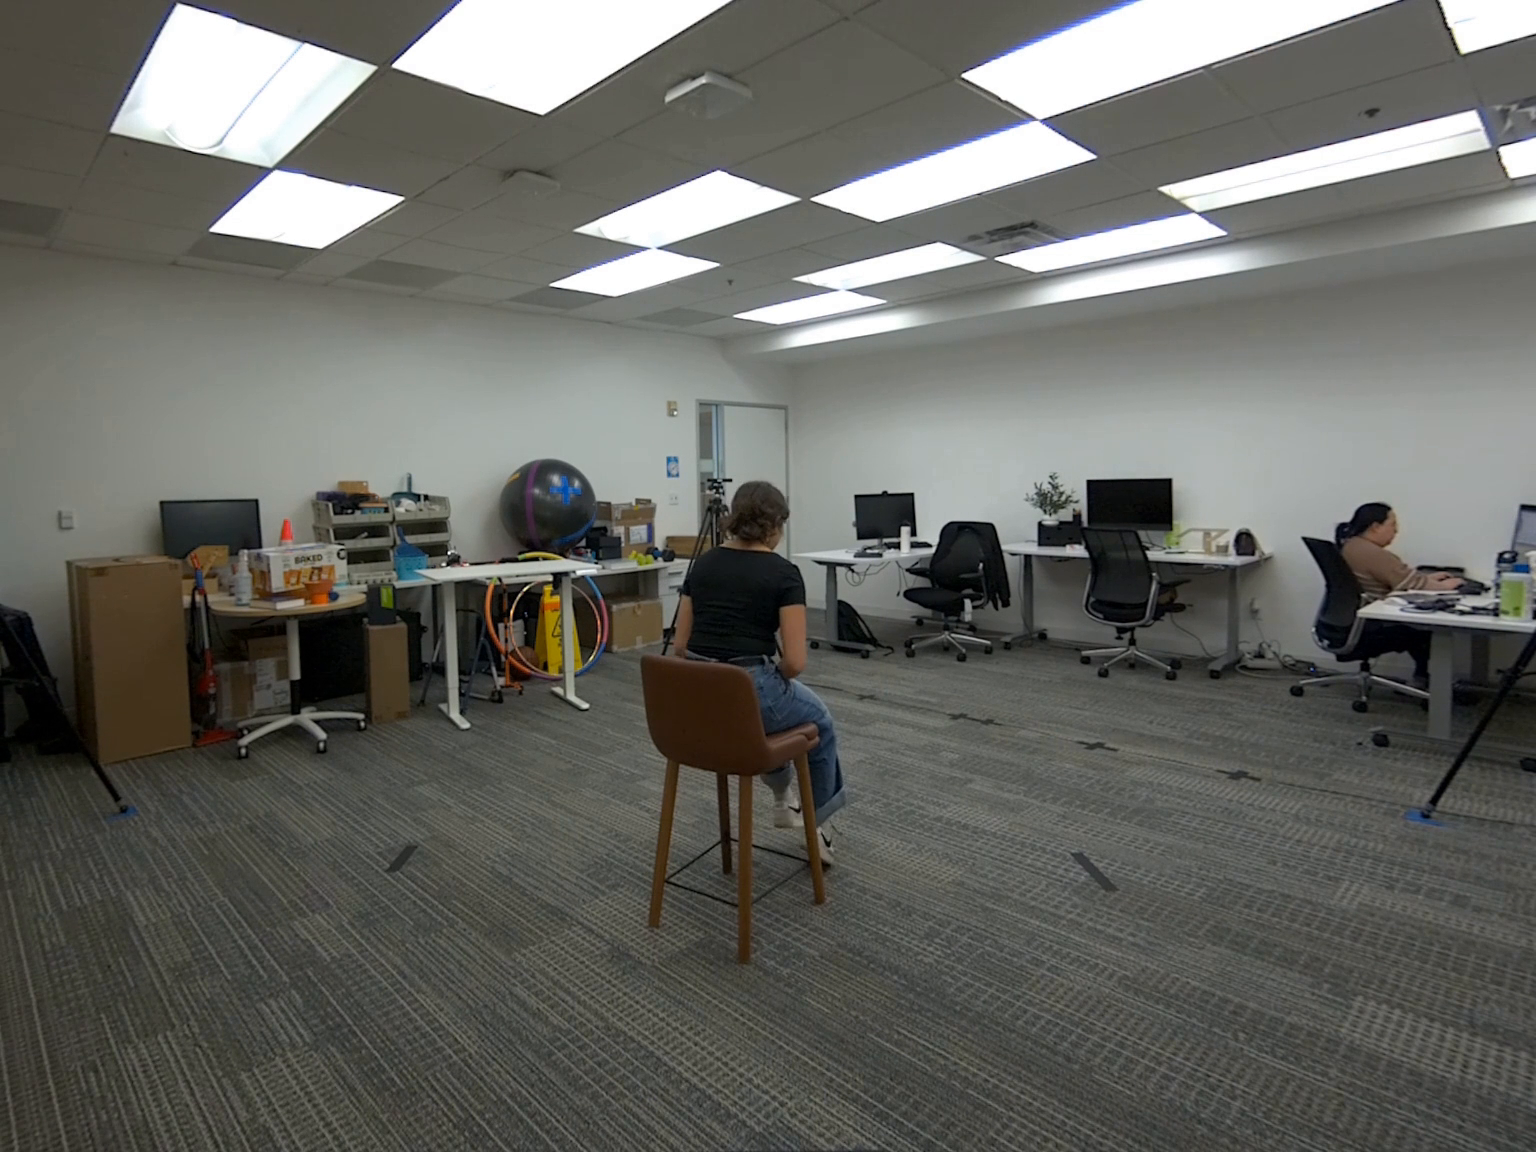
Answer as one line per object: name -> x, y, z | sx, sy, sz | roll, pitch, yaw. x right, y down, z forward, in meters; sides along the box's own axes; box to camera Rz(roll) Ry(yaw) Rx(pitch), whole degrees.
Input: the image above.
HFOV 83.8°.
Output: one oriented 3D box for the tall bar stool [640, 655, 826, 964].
tall bar stool -> -0.112, 0.659, 2.717 | 0.469, 0.885, 0.457 | 2, 7, 35
